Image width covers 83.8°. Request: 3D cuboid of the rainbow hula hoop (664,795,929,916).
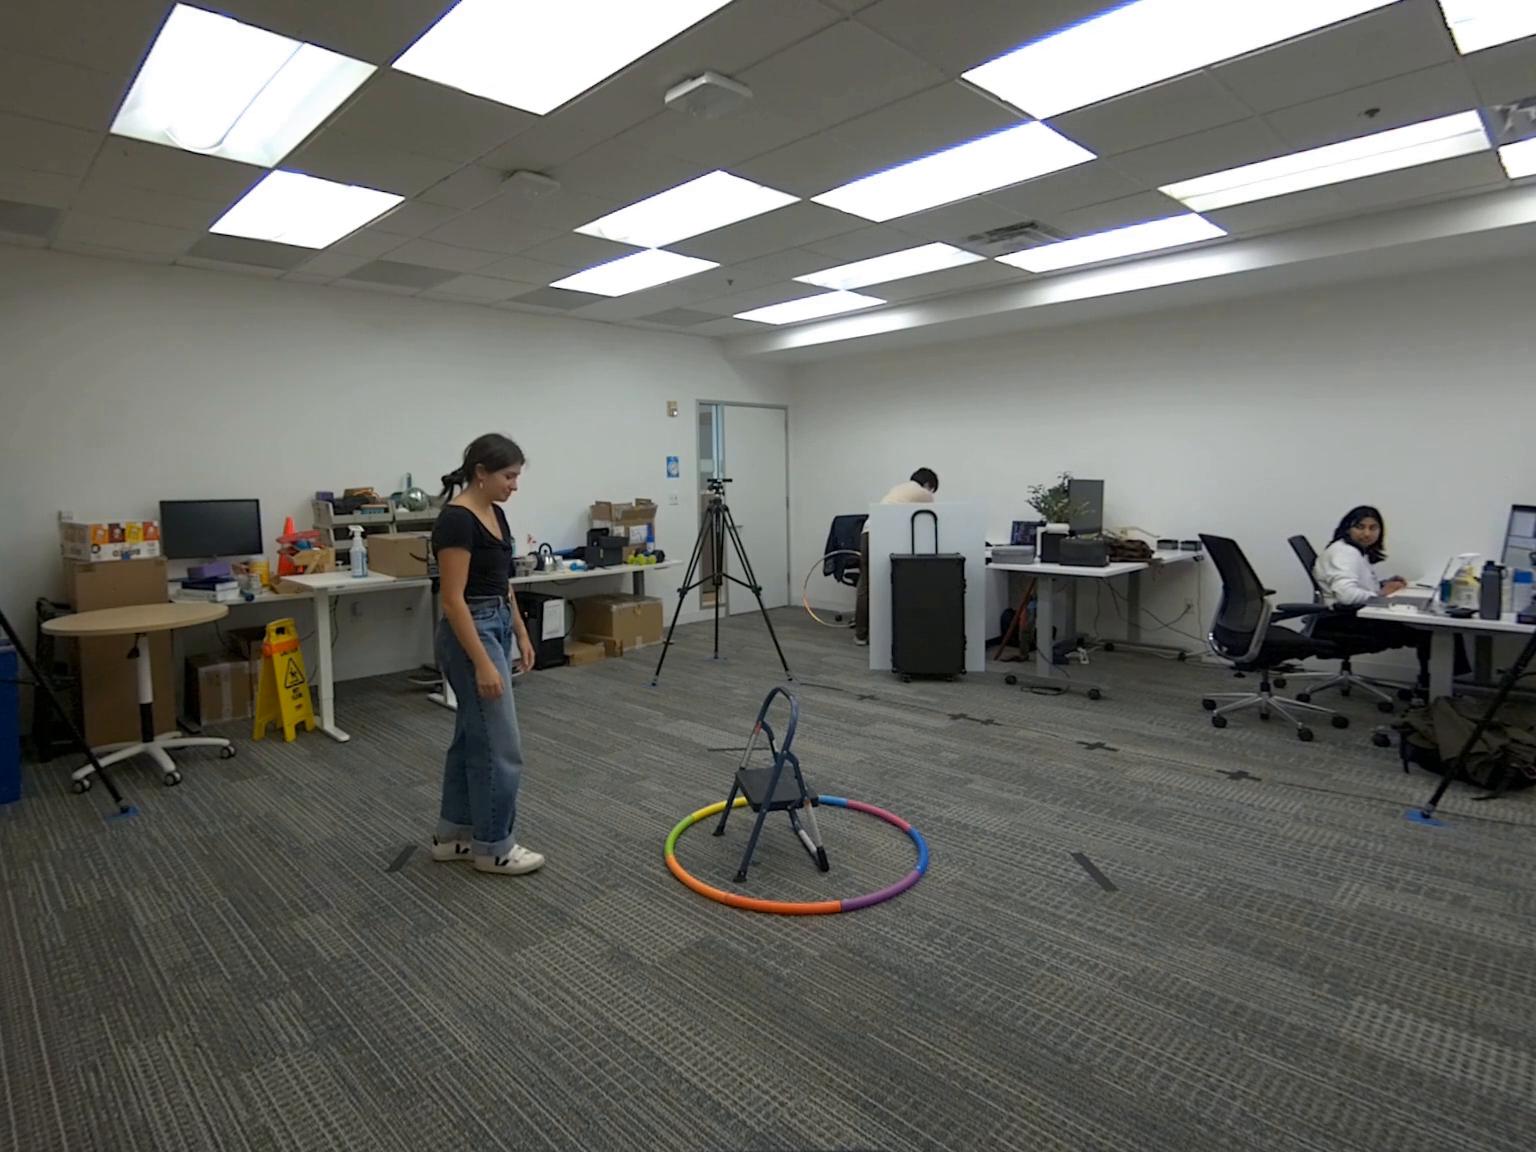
[{"bbox_3d":[0.095,1.002,3.222,0.978,0.035,0.984,-1,6,-2],"label":"rainbow hula hoop"}]
